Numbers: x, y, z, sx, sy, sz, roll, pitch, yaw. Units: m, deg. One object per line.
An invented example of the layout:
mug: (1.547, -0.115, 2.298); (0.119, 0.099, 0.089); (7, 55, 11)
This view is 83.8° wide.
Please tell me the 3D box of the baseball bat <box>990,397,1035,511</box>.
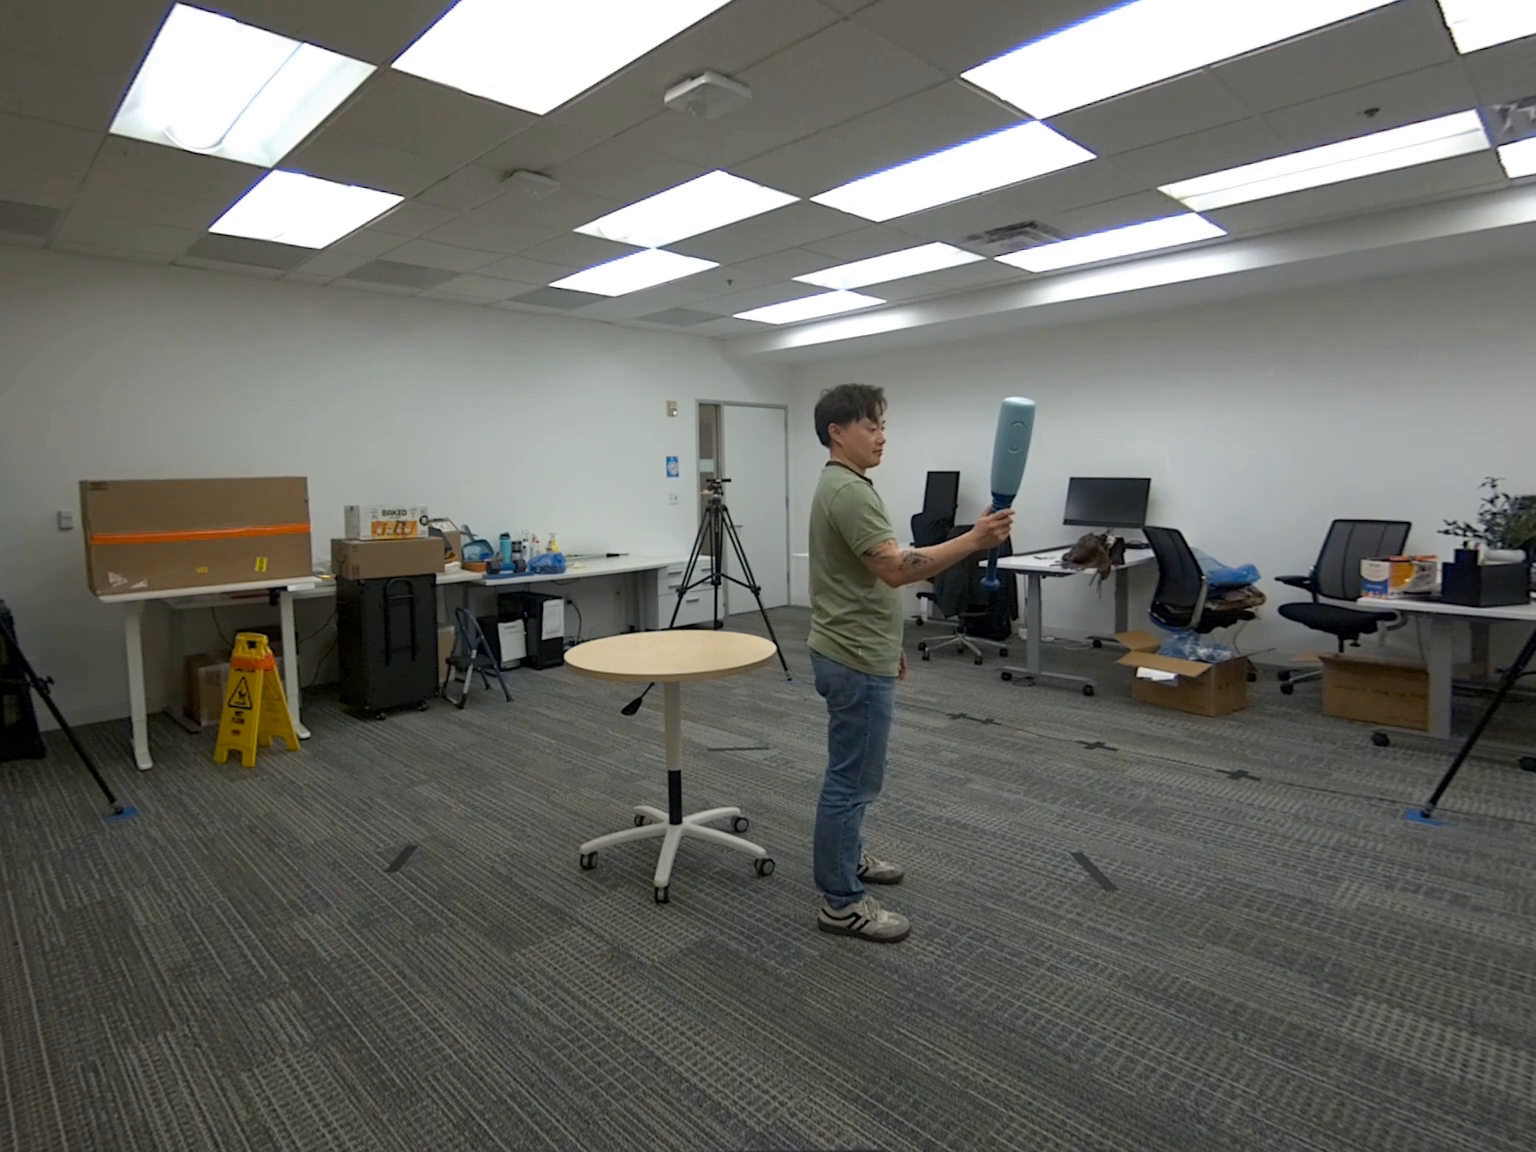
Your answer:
baseball bat: (0.634, -0.212, 2.299); (0.089, 0.533, 0.091); (1, 23, -2)
